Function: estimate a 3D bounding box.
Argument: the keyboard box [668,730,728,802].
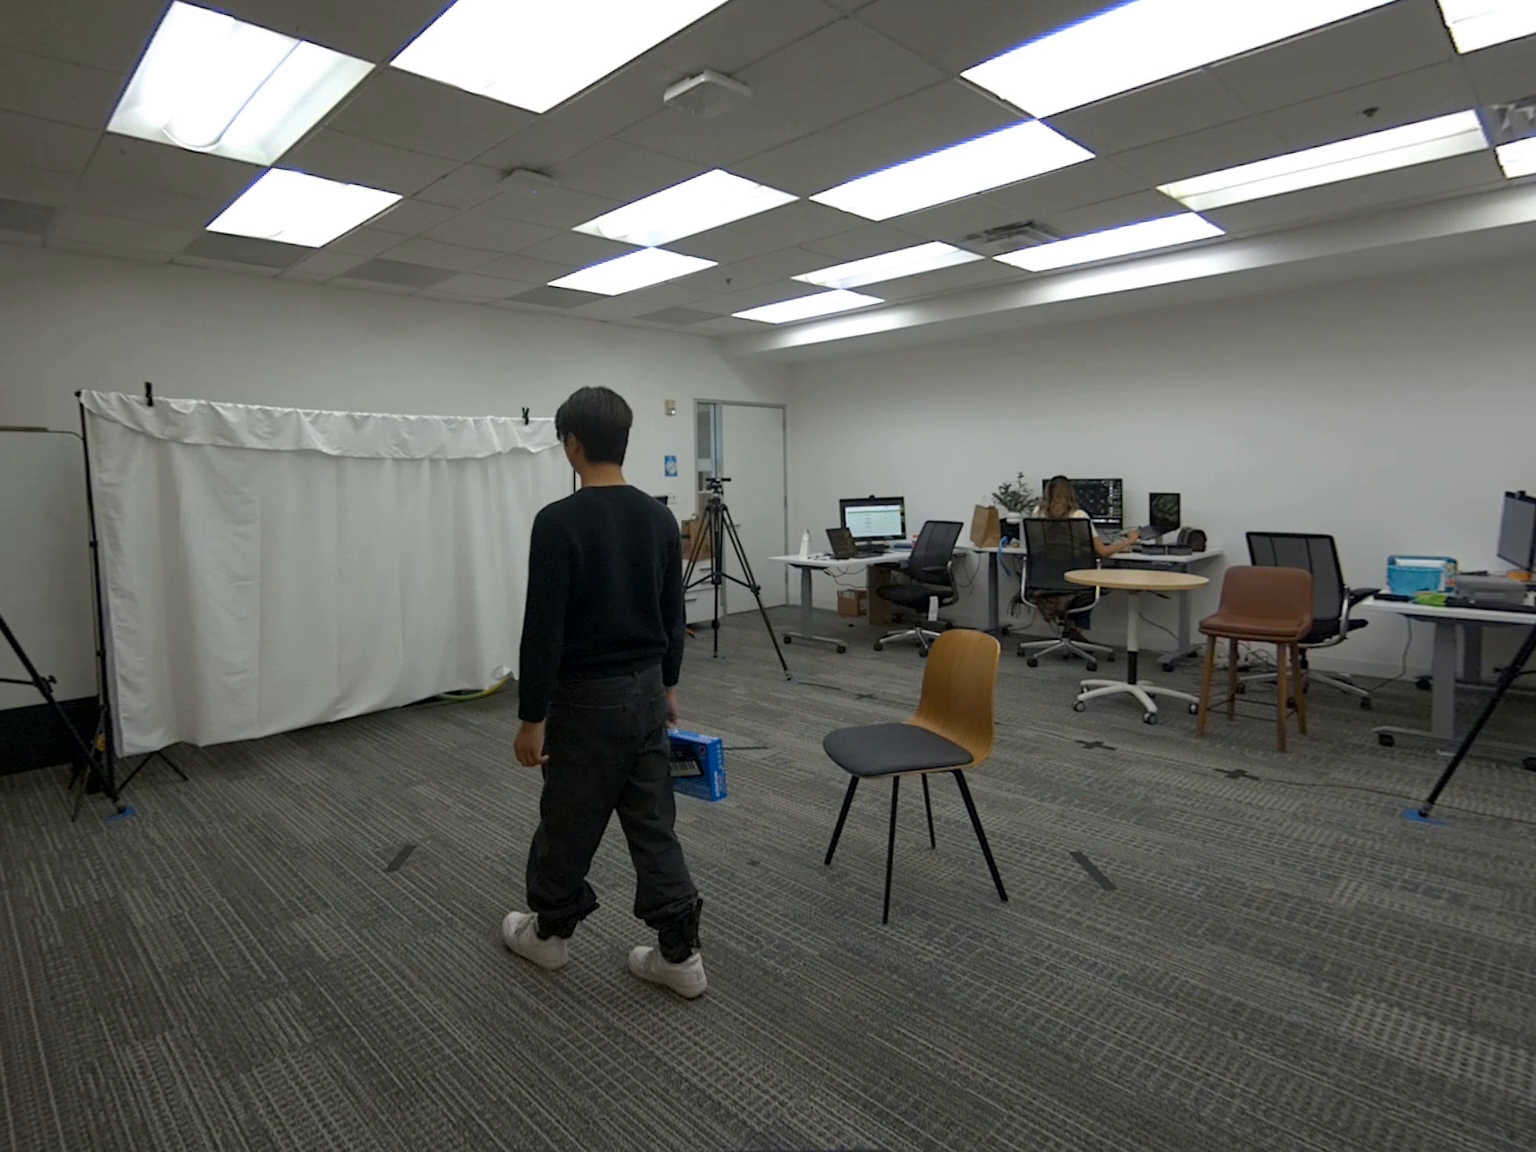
[{"bbox_3d":[-0.299,0.556,2.611,0.057,0.175,0.449,-7,5,-44],"label":"keyboard box"}]
